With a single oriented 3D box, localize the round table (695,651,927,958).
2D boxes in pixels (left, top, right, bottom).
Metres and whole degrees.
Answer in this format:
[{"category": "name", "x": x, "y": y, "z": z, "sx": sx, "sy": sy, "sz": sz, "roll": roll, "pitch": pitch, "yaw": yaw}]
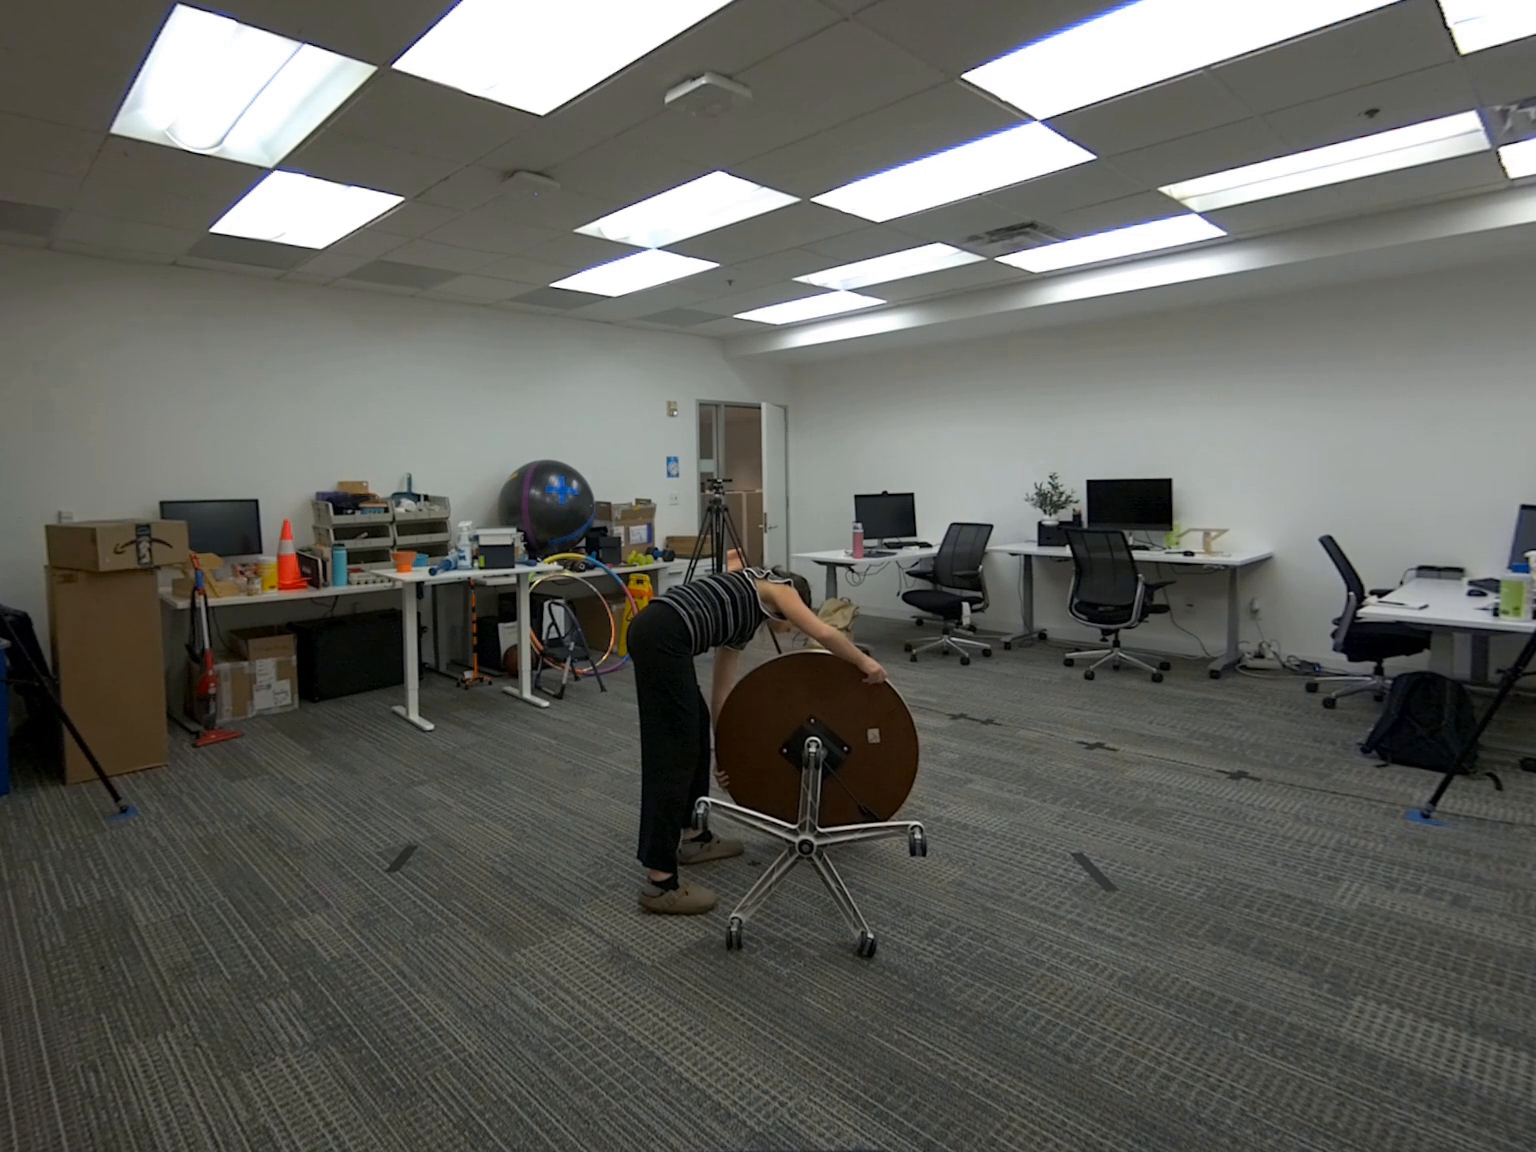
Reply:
[{"category": "round table", "x": 0.145, "y": 0.736, "z": 2.831, "sx": 0.770, "sy": 0.757, "sz": 0.796, "roll": 0, "pitch": 11, "yaw": 7}]
